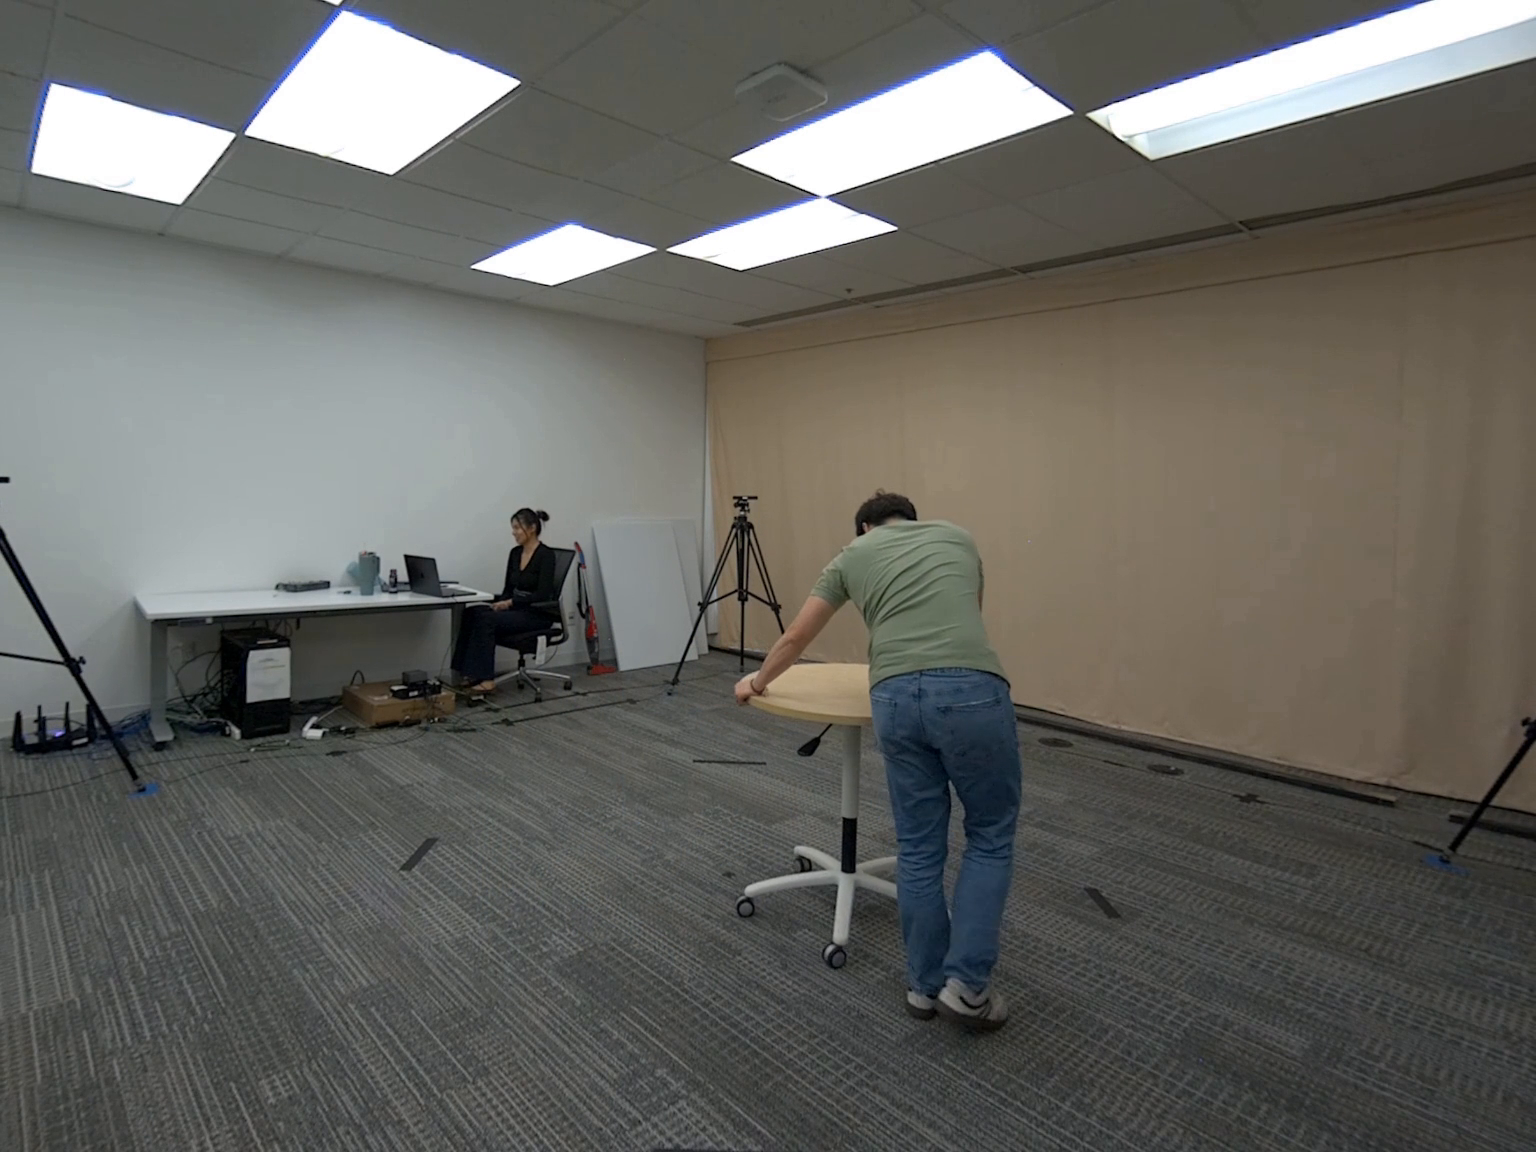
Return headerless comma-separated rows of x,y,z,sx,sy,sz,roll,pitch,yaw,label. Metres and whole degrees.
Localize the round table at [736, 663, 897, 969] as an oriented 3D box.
0.270,0.757,2.826,0.763,0.792,0.767,1,4,-1,round table
